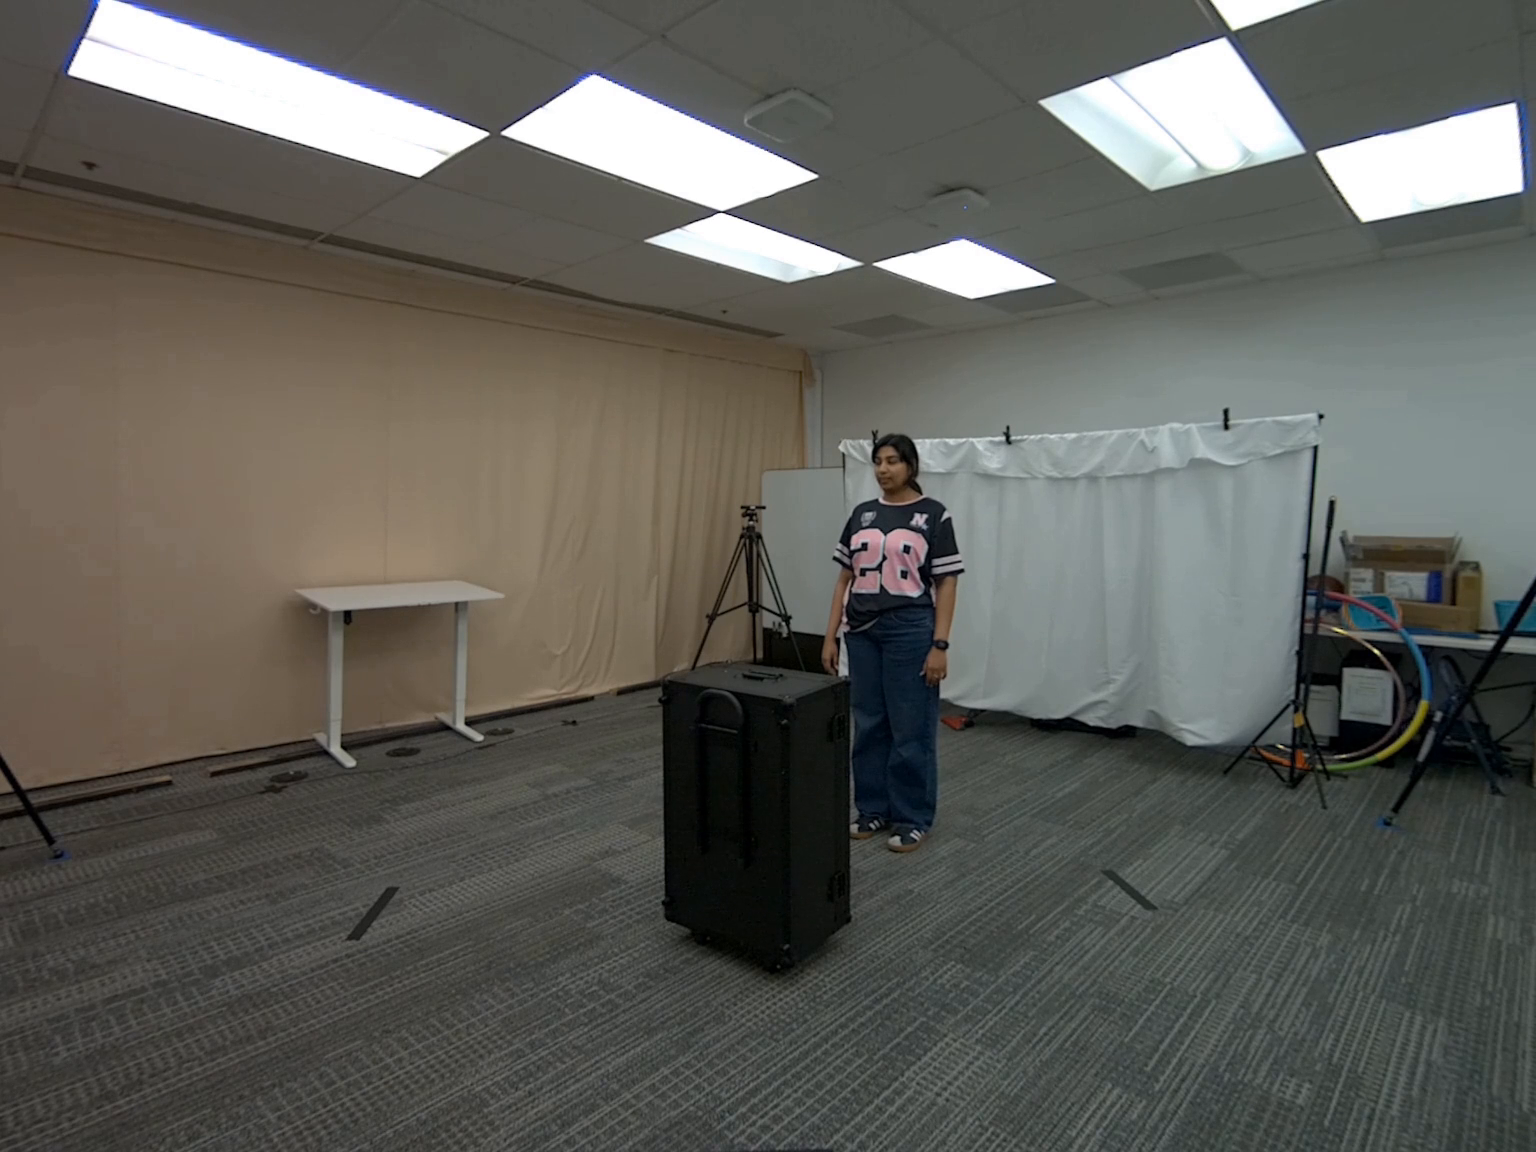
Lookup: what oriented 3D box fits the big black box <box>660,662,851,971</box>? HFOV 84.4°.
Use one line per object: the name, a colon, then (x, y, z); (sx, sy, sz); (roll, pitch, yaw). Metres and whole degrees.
big black box: (-0.028, 0.750, 2.655); (0.540, 0.866, 0.374); (2, 4, 36)
